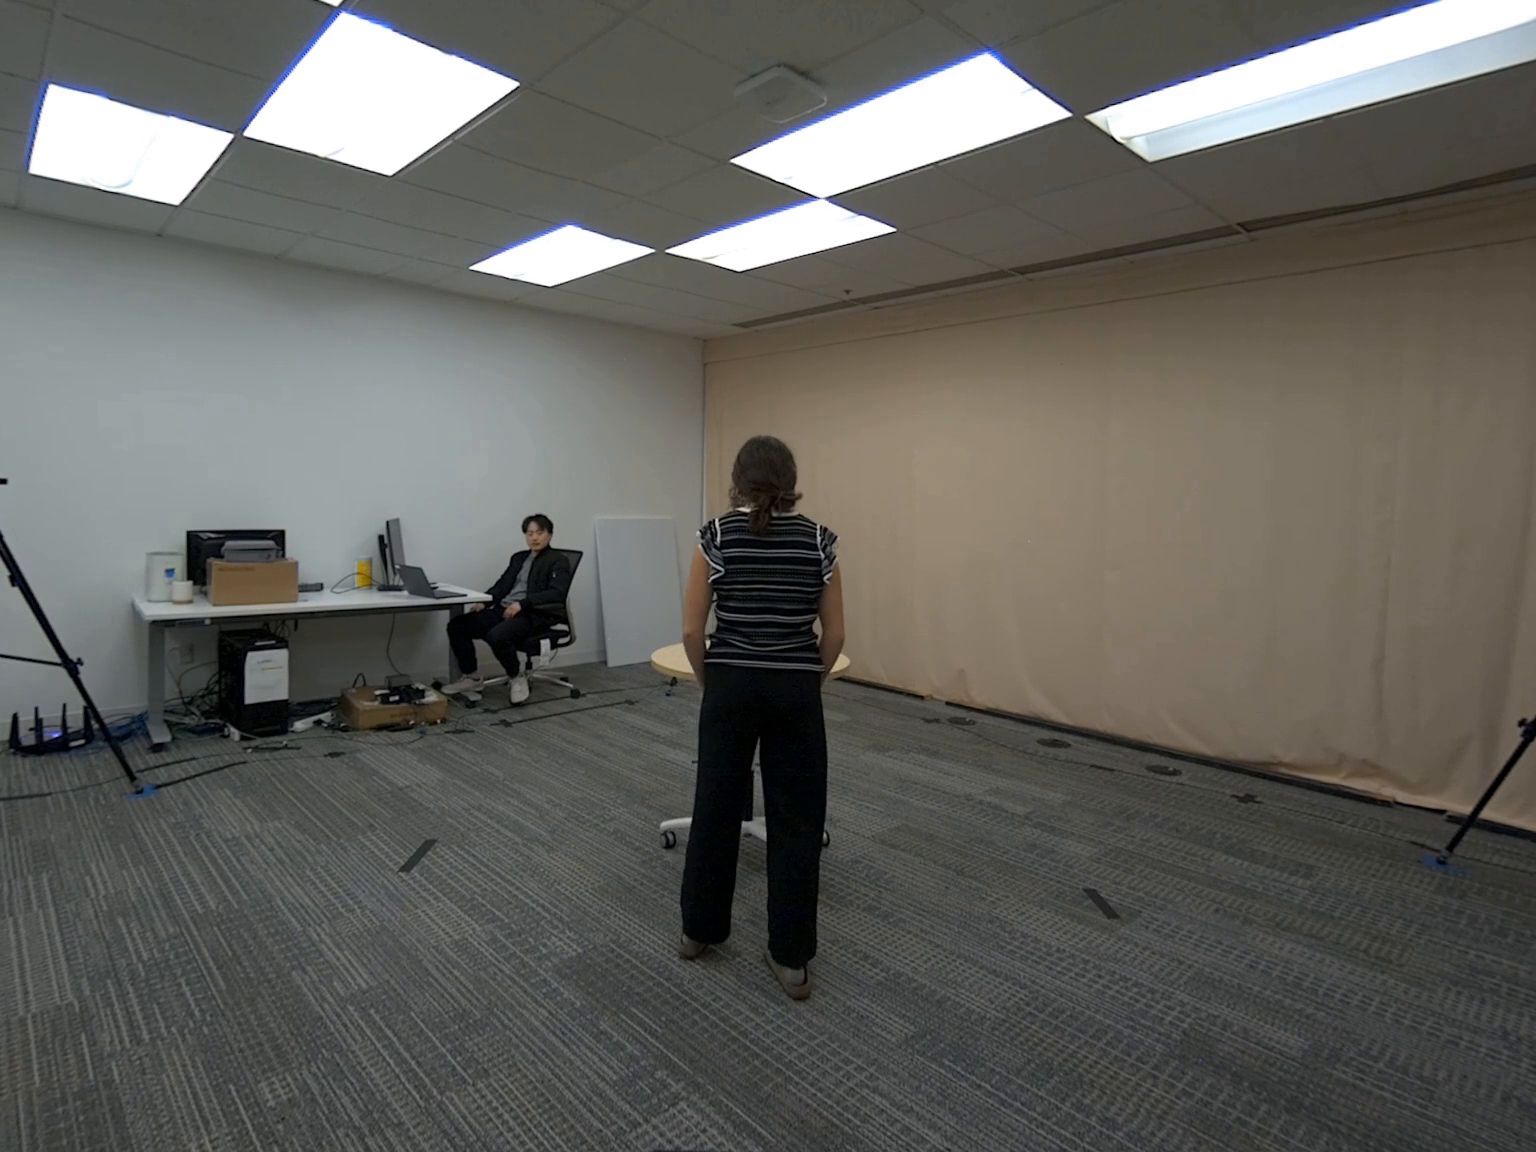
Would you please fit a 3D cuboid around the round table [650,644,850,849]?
[{"bbox_3d":[-0.084,0.711,3.272,0.763,0.792,0.767,2,4,-1],"label":"round table"}]
